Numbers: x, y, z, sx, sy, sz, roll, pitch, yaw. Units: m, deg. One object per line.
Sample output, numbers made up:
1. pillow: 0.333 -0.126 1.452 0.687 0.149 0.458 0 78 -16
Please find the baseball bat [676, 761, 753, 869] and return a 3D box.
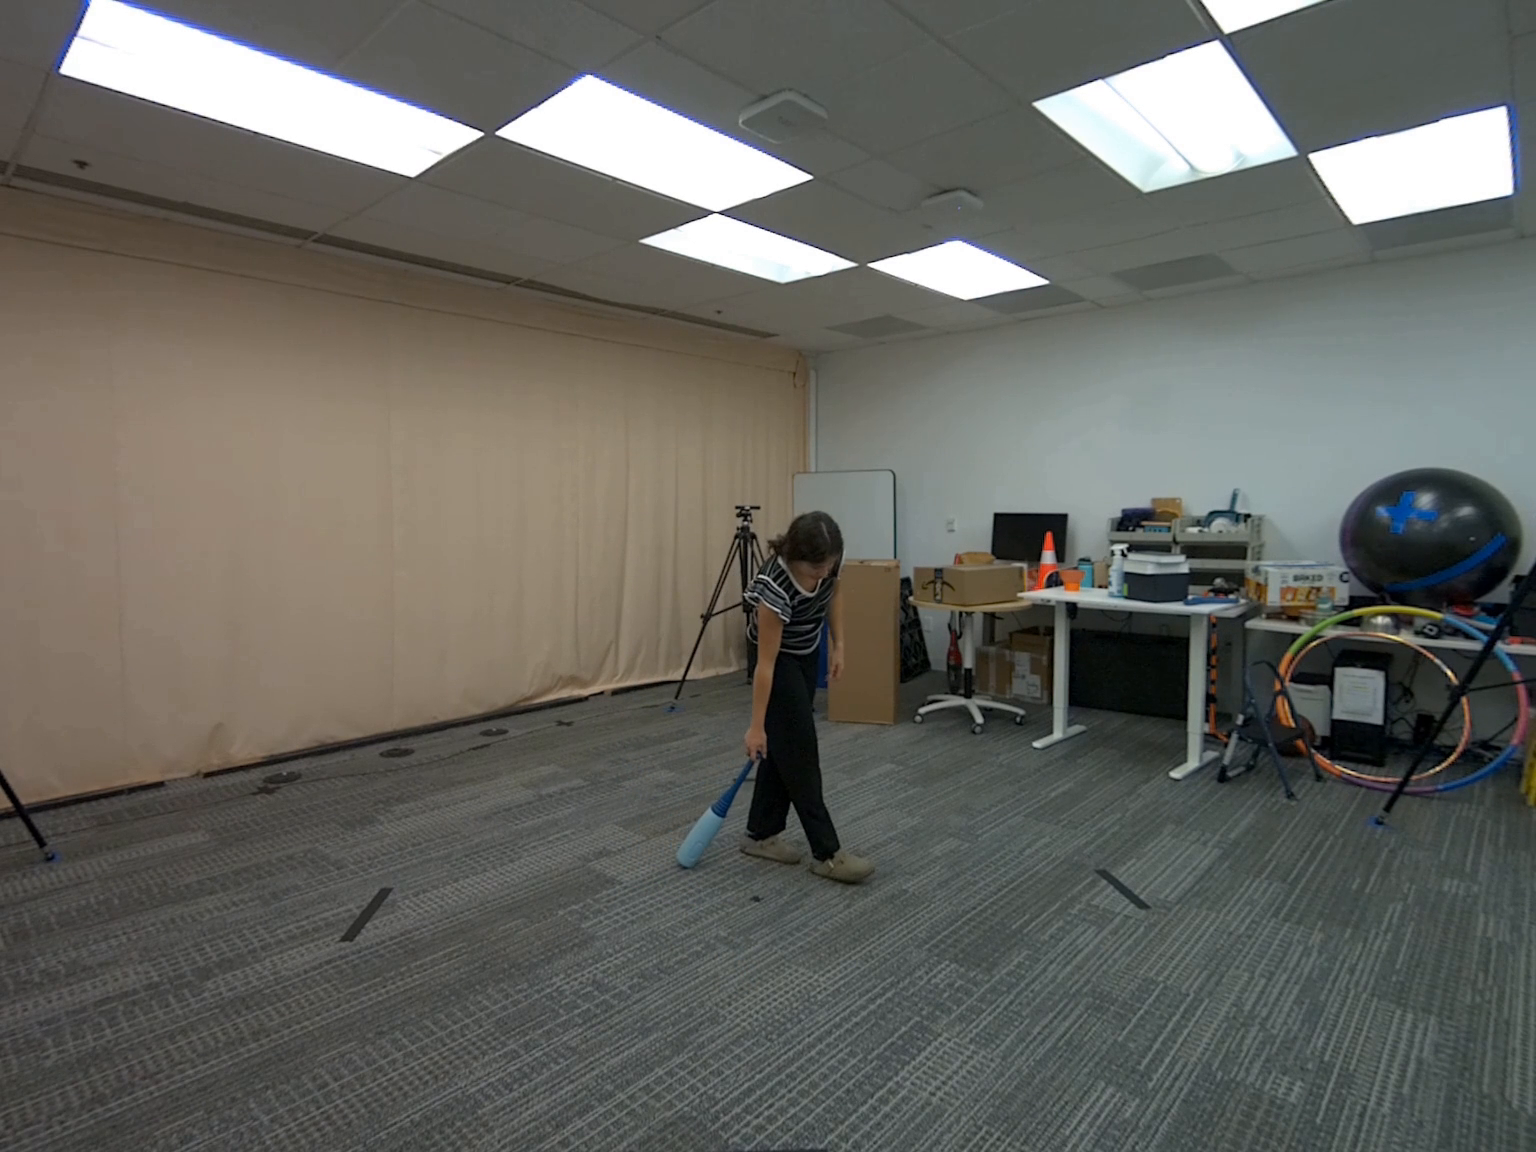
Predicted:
1. baseball bat: -0.173 0.890 3.218 0.088 0.543 0.090 32 10 -8
